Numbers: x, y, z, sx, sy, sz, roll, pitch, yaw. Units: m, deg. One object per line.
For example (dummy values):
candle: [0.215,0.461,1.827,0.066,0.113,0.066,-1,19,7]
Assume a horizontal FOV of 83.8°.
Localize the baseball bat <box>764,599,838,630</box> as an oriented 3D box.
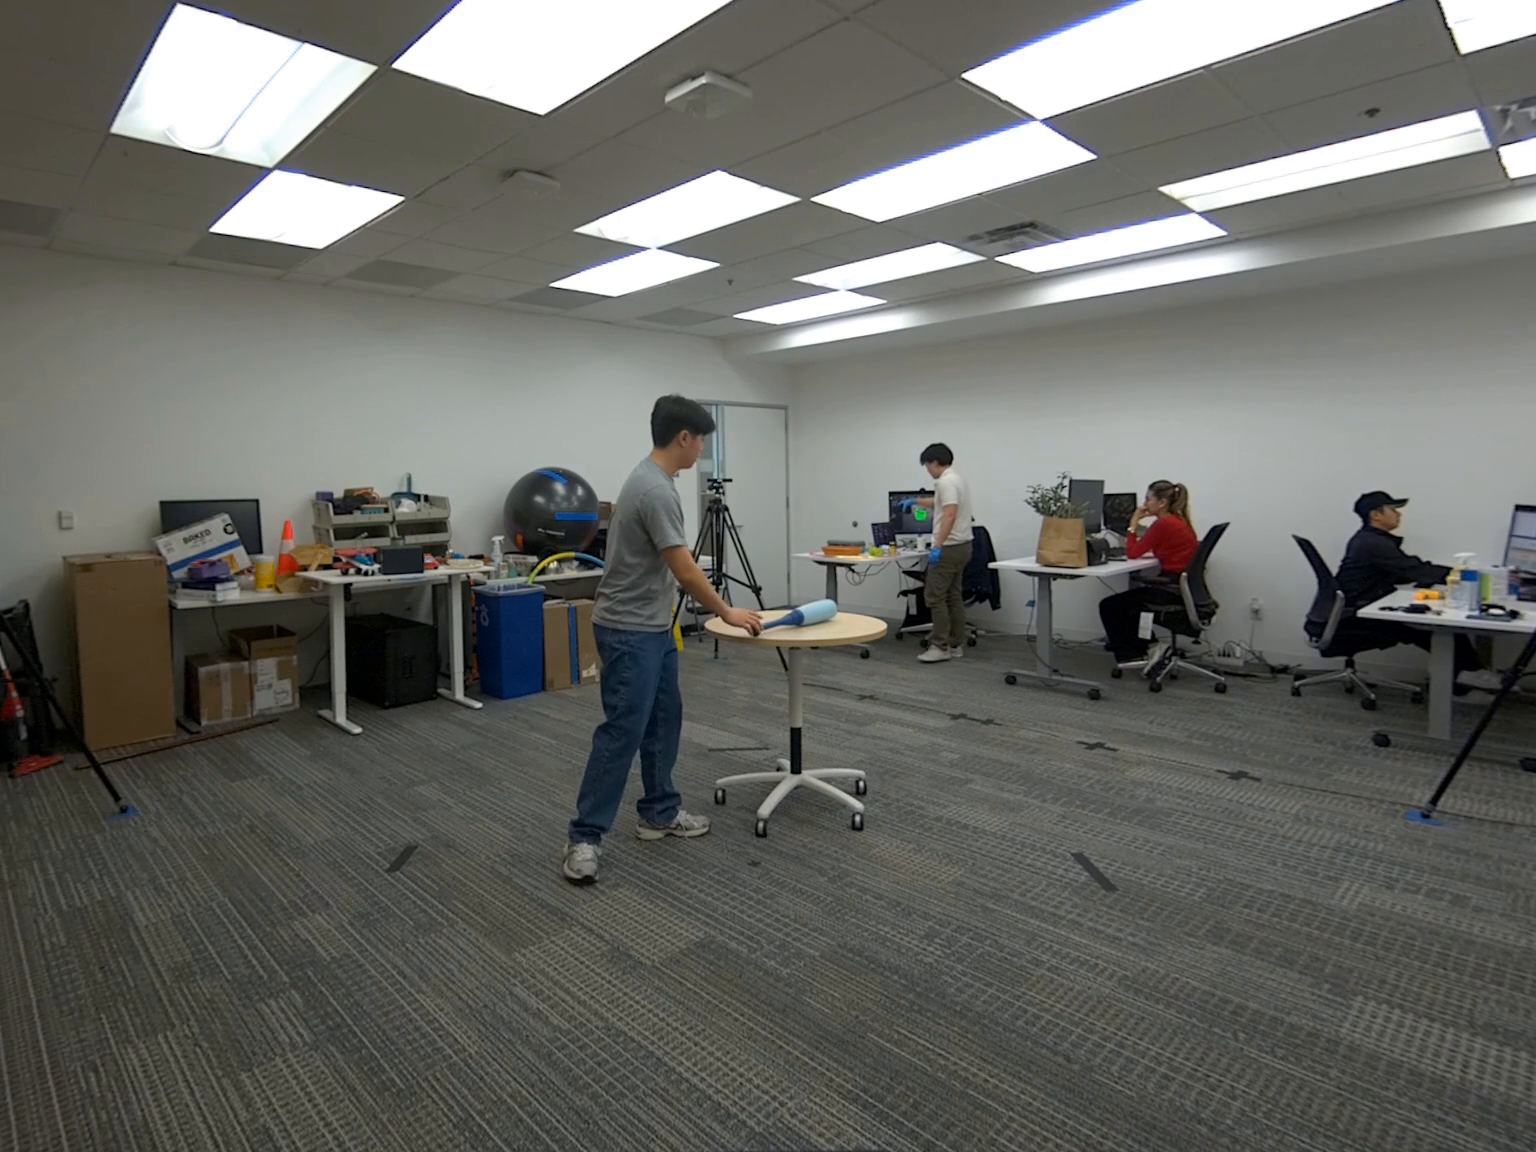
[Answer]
baseball bat: [0.113,0.179,3.499,0.092,0.088,0.530,3,9,37]
